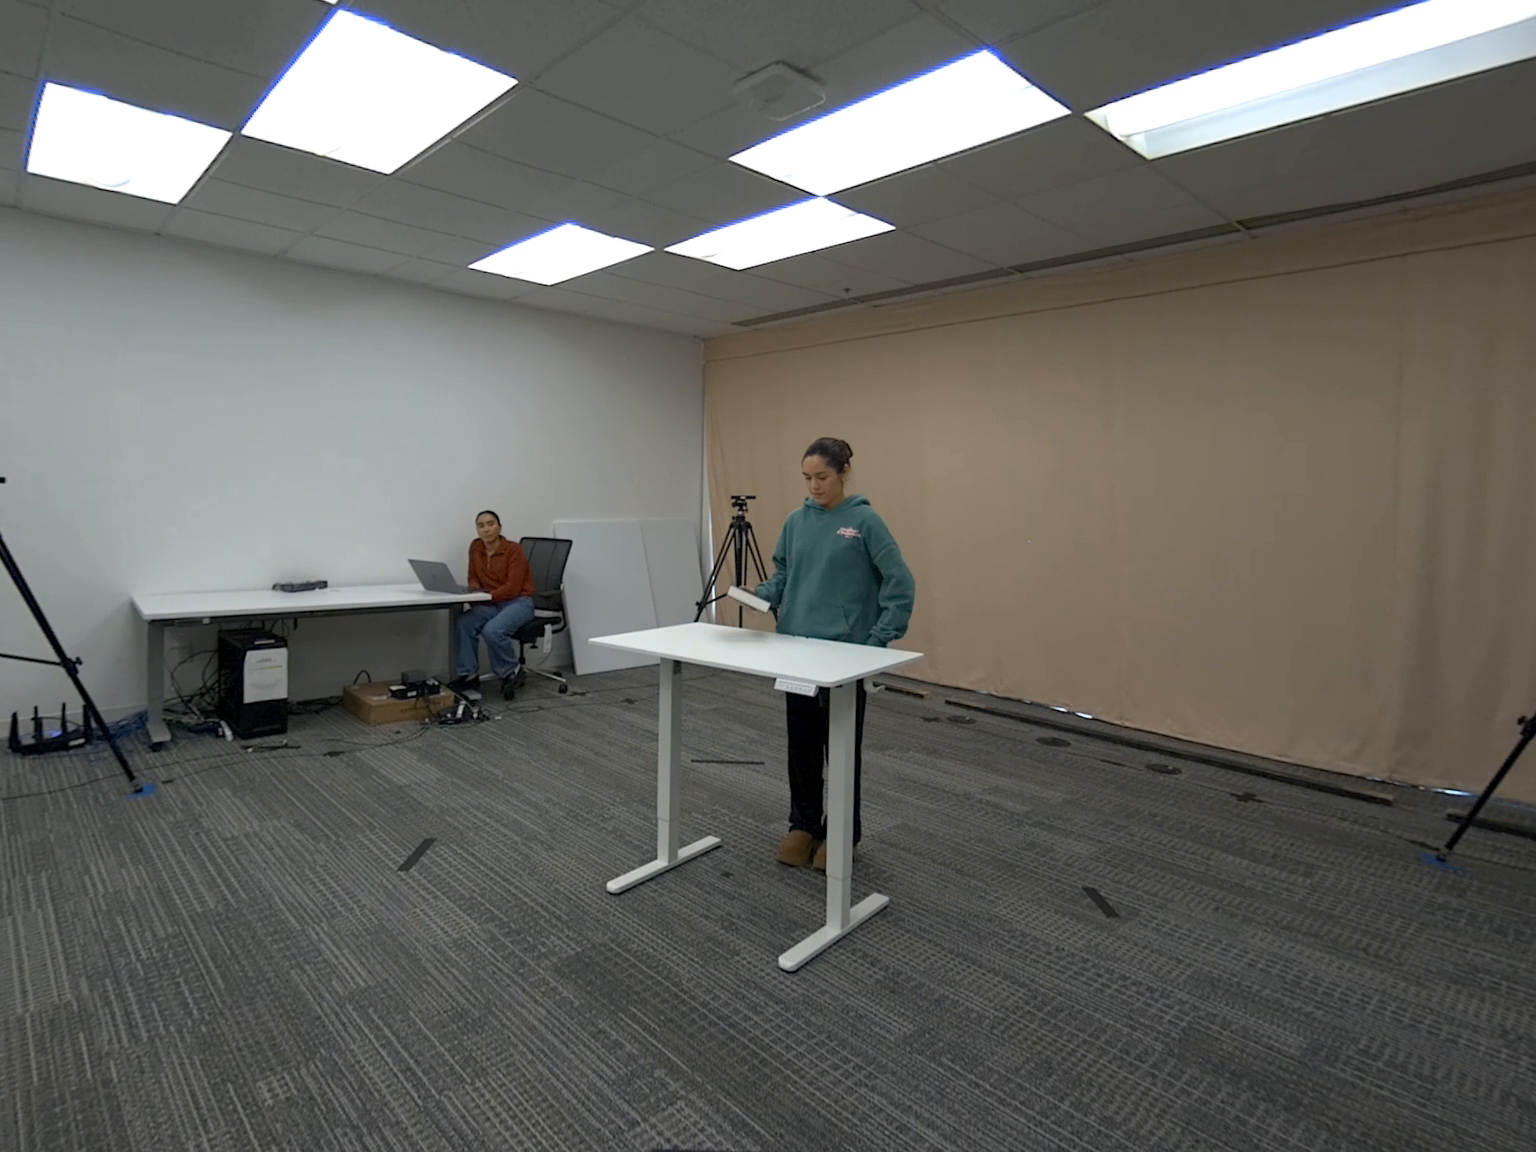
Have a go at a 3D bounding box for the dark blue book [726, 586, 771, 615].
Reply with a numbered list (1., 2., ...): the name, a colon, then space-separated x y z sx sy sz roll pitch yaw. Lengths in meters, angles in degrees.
1. dark blue book: -0.071 0.085 3.111 0.164 0.045 0.244 25 0 3
